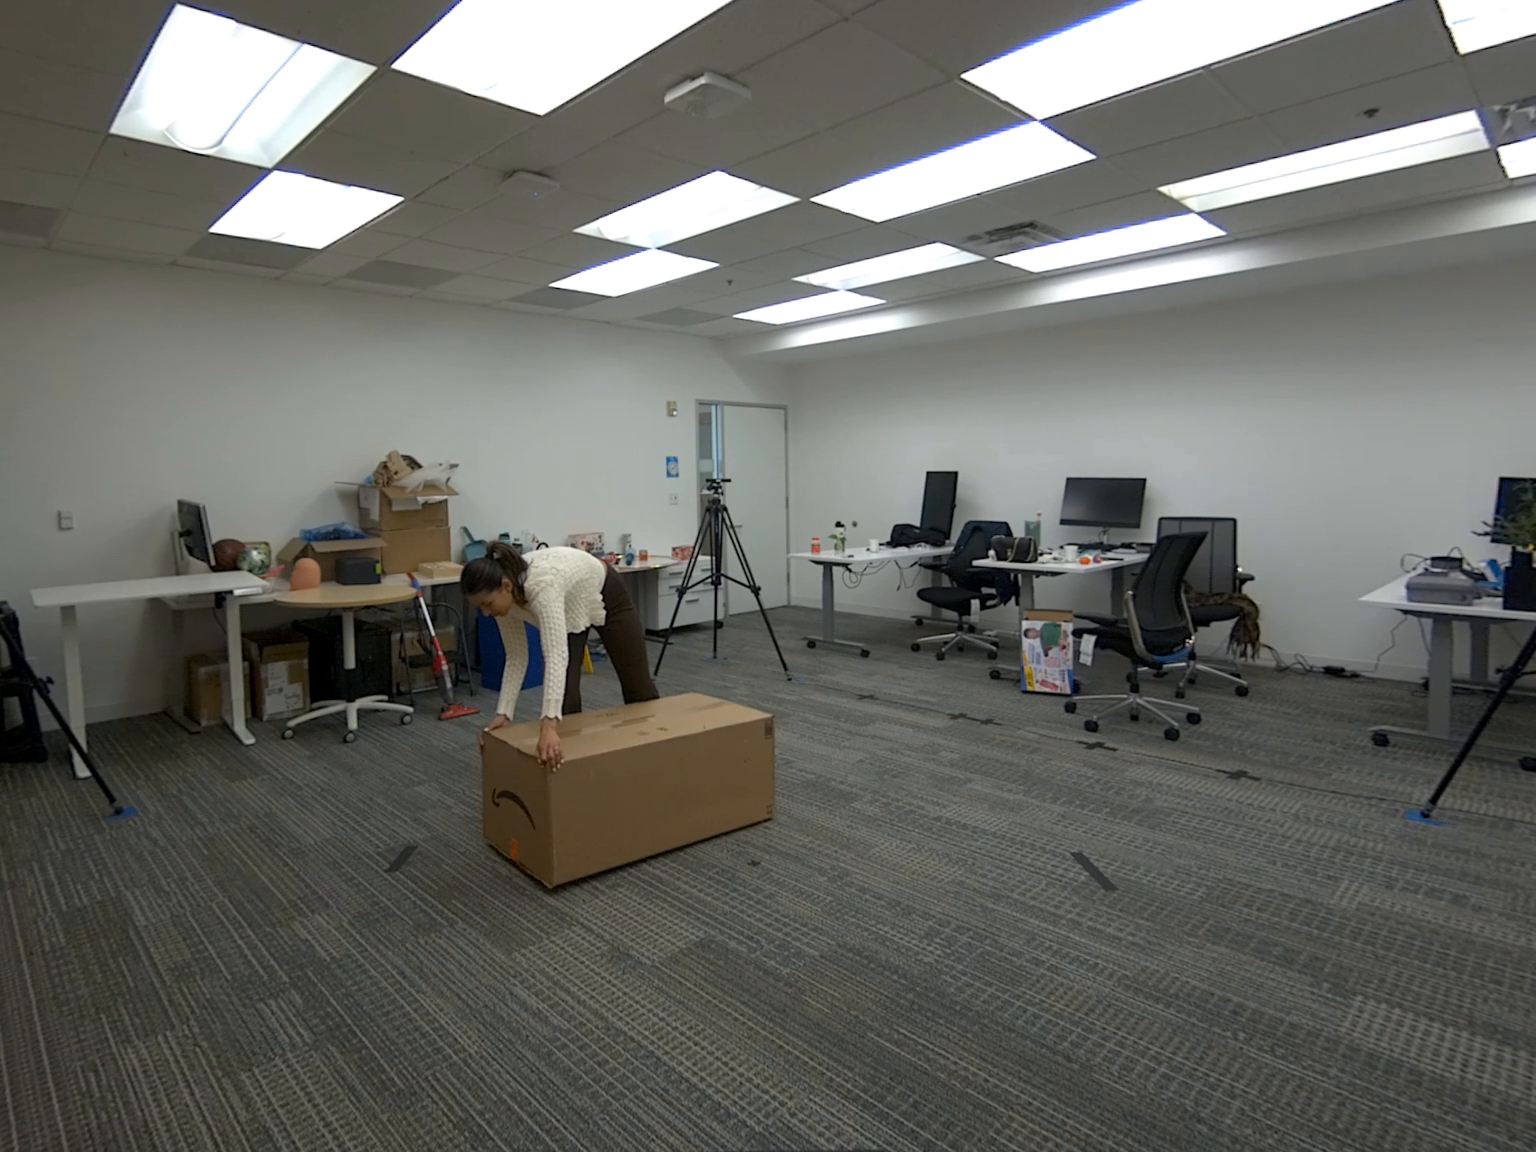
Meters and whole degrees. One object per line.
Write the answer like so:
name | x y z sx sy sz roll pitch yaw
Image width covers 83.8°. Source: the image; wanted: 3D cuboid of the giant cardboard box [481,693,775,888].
giant cardboard box | -0.539 0.797 3.399 0.998 0.425 0.595 -4 5 -39
